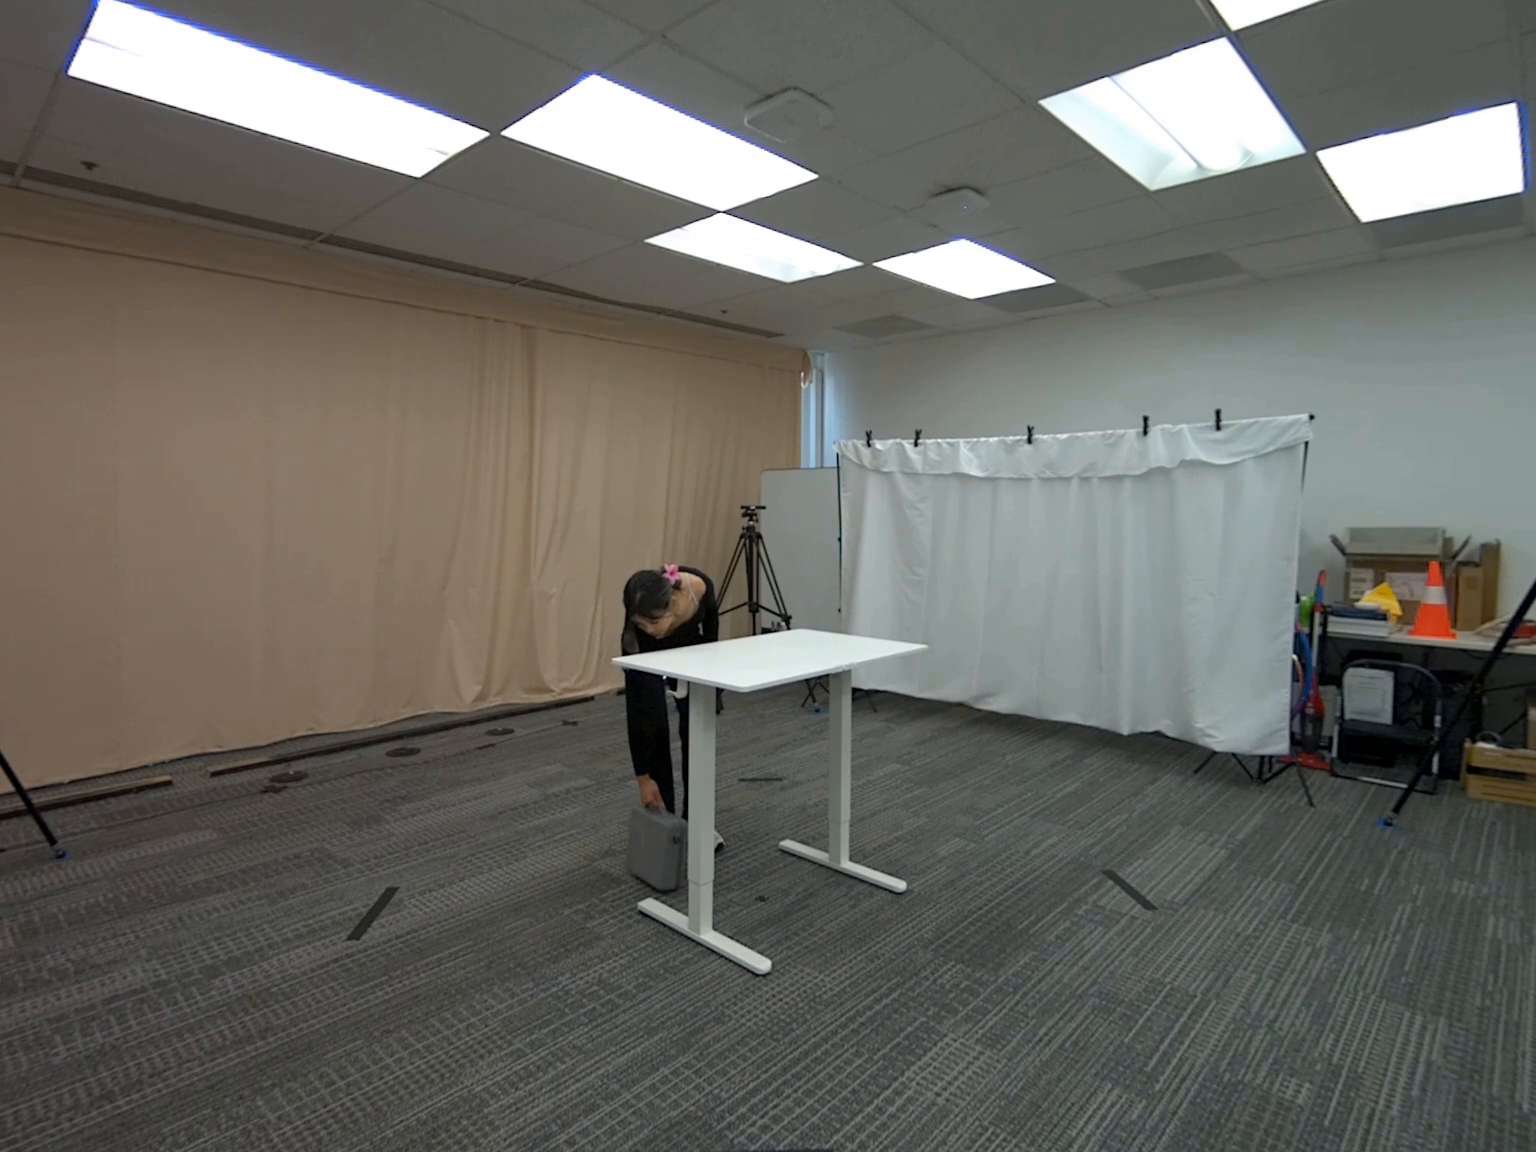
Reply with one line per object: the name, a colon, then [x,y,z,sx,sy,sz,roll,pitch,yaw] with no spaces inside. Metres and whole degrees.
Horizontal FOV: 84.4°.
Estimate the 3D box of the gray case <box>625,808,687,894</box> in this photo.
gray case: [-0.412,0.982,3.116,0.101,0.260,0.265,4,1,-39]
